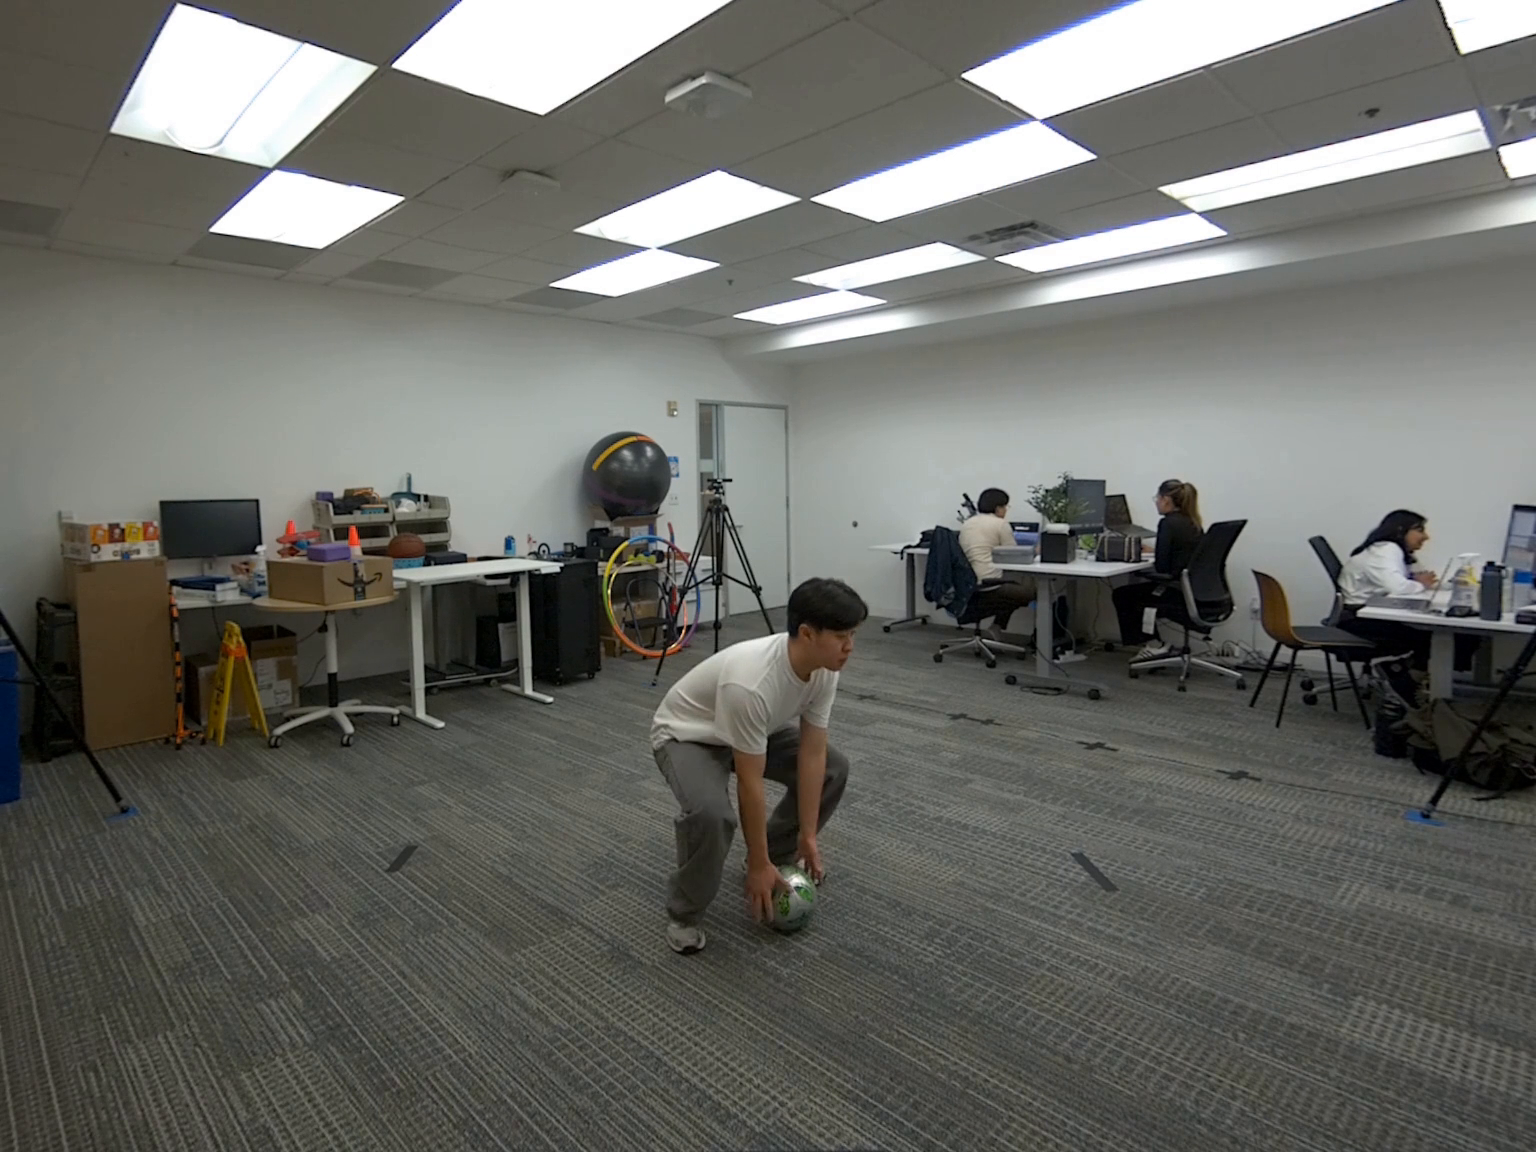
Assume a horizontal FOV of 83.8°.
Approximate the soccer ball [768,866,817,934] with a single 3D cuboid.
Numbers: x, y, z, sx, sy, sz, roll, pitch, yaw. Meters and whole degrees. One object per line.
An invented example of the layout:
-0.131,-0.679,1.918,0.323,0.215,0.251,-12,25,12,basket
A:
0.064,1.006,2.667,0.187,0.187,0.188,-1,5,-2,soccer ball
